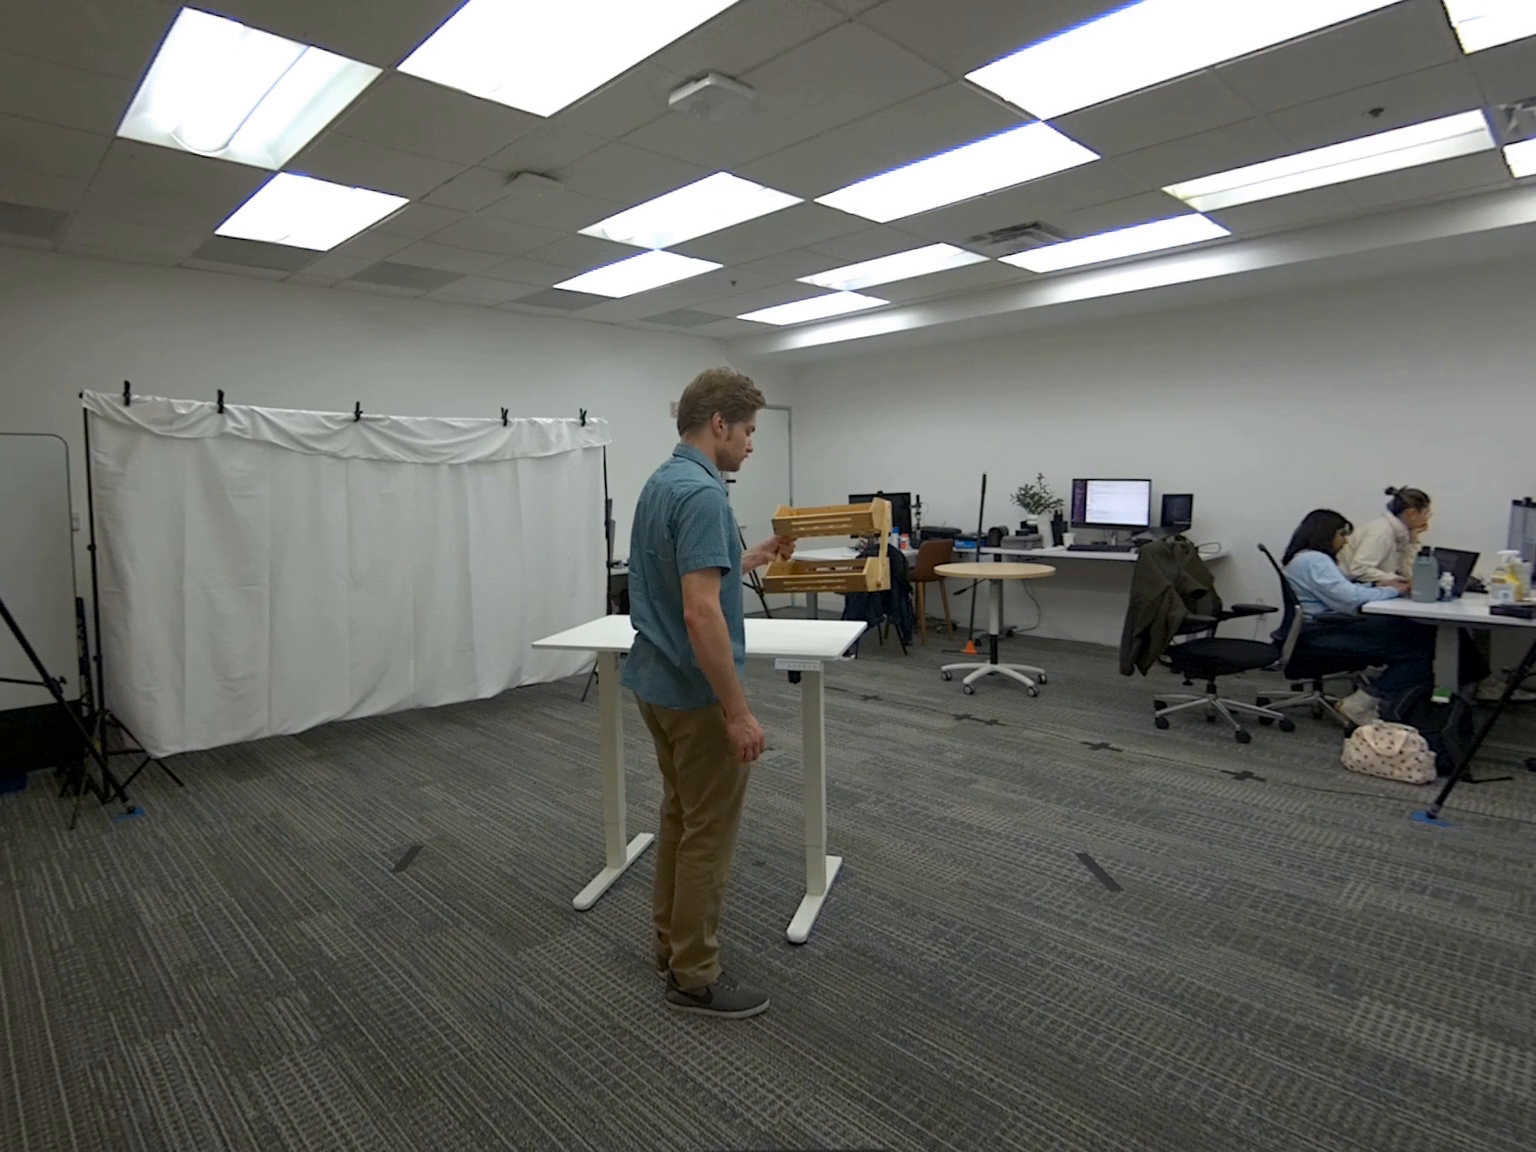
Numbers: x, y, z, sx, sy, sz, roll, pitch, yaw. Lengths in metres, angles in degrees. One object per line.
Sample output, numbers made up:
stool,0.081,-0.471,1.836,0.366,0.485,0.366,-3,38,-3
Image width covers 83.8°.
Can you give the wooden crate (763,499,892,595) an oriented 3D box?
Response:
wooden crate,0.184,-0.089,2.466,0.331,0.274,0.295,-3,-2,24
